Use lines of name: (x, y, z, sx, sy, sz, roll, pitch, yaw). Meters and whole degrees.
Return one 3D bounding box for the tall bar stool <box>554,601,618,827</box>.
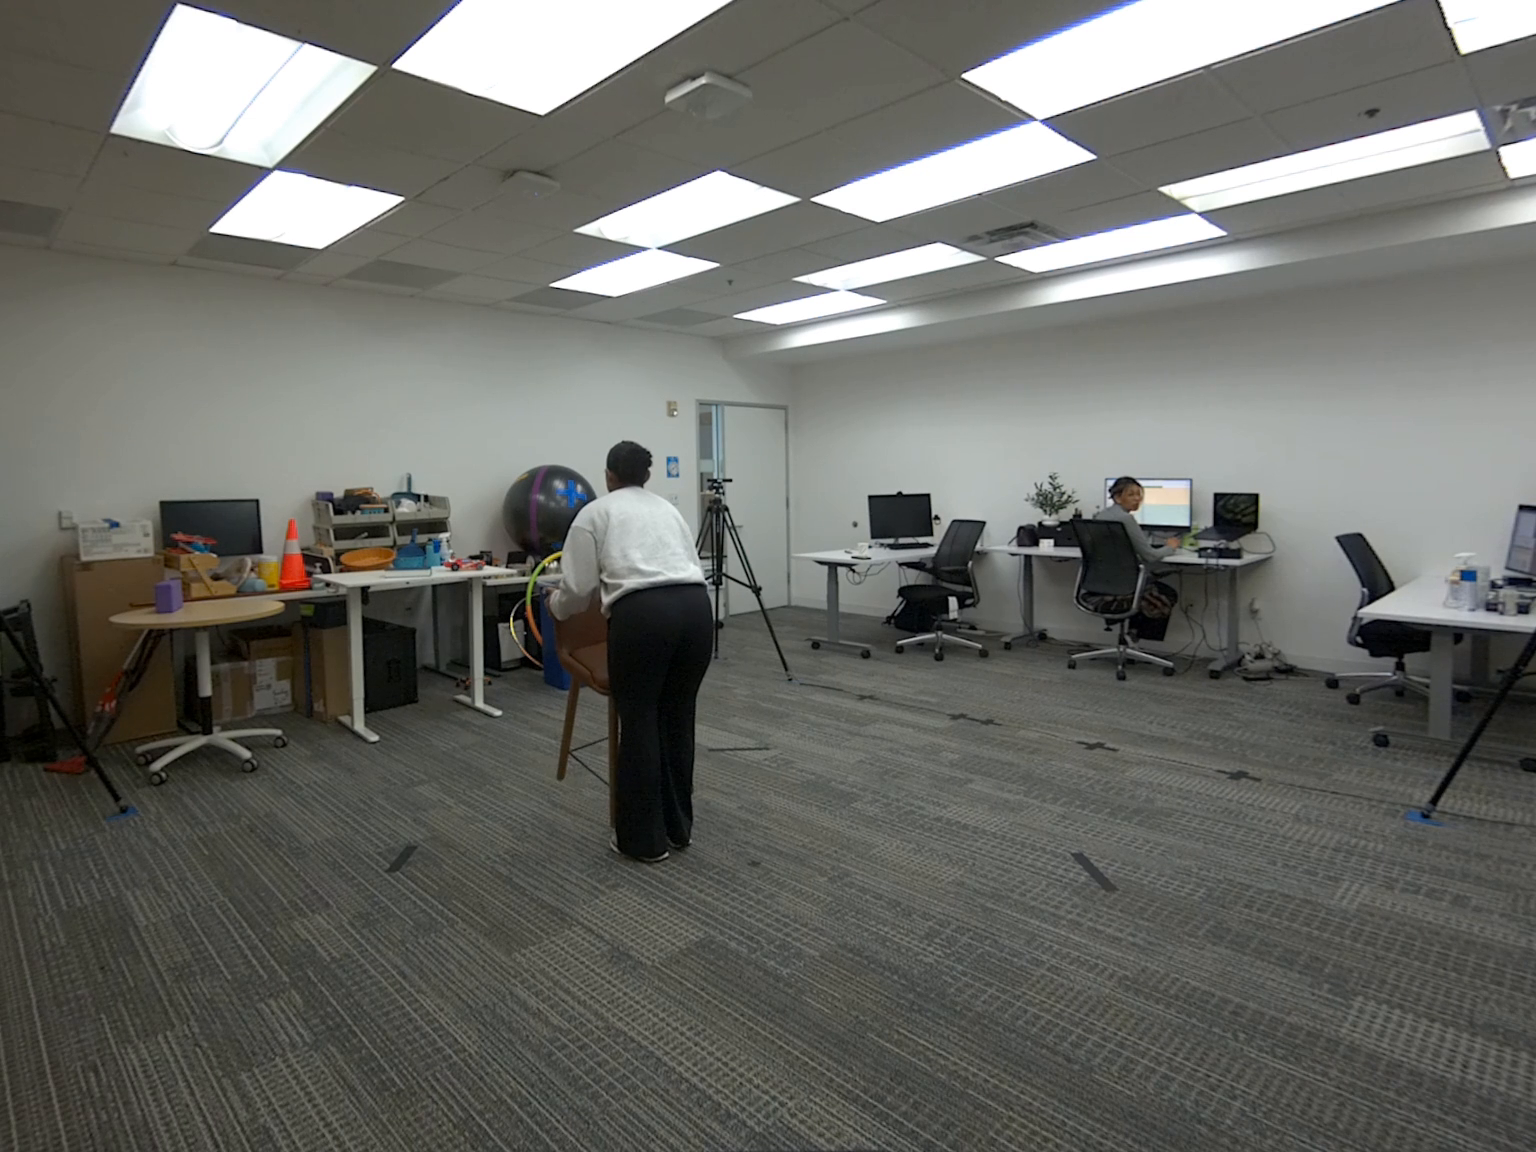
tall bar stool: (-0.594, 0.466, 3.478, 0.446, 0.879, 0.484, -11, 20, -42)
